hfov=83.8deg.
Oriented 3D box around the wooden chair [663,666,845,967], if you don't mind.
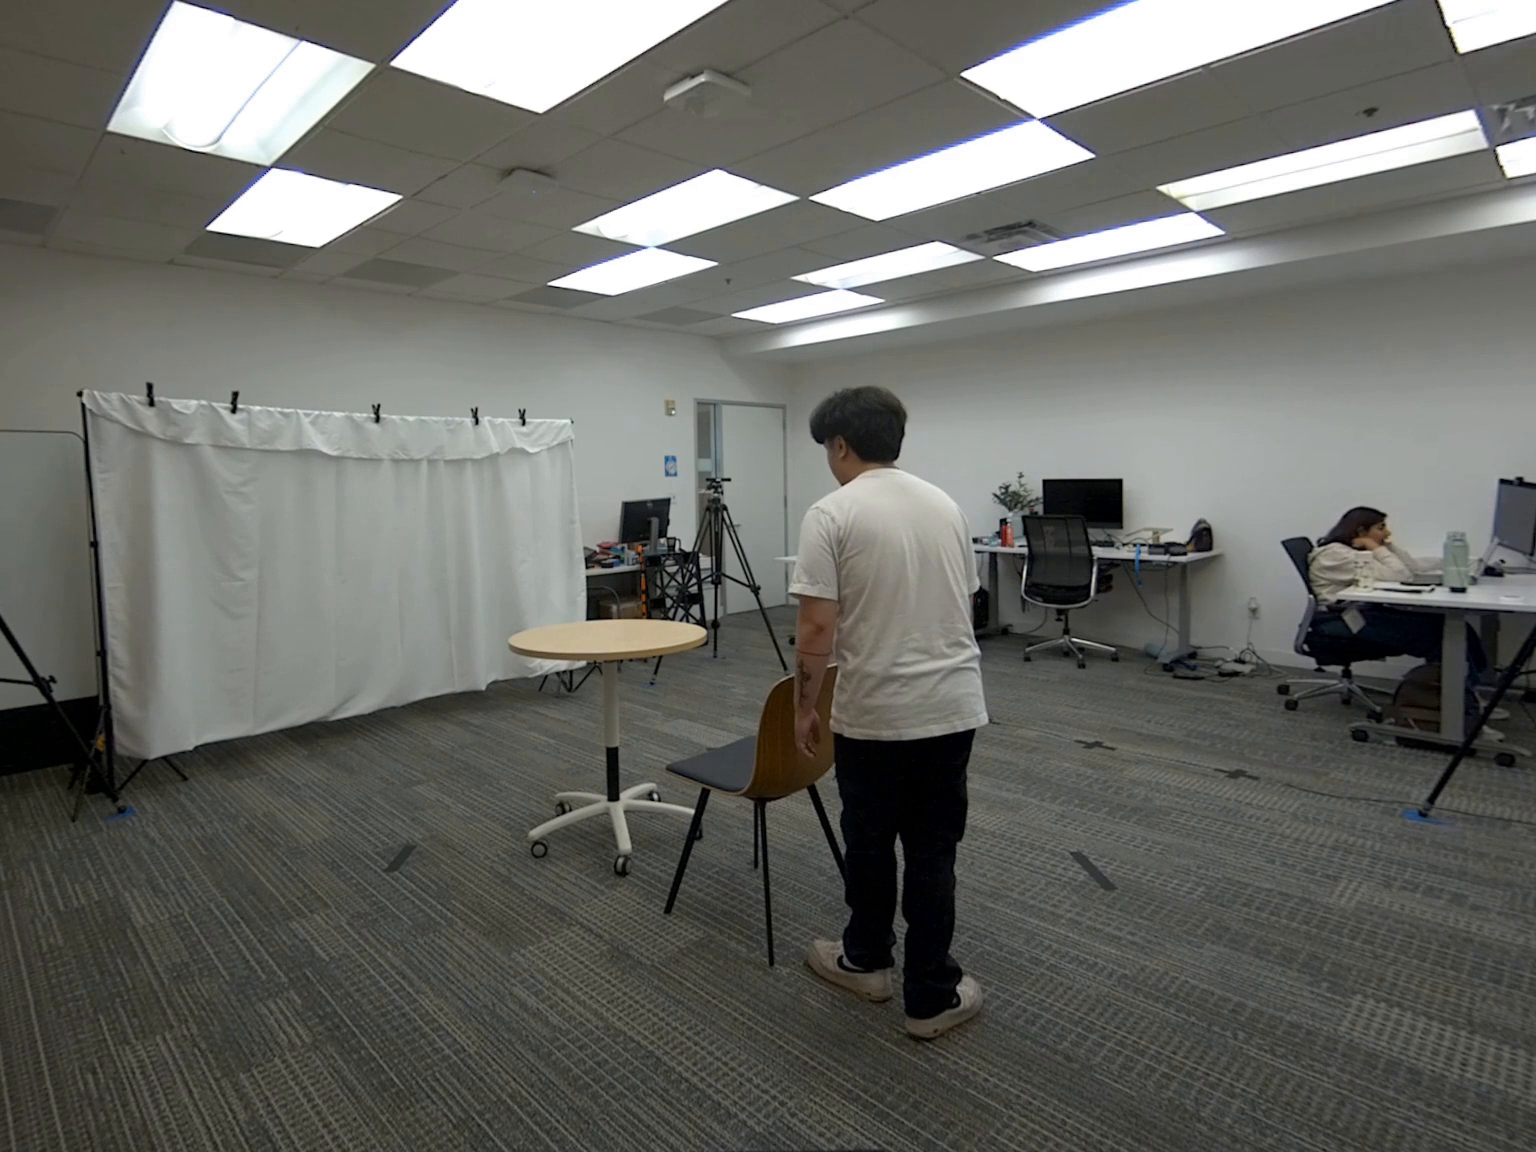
[{"bbox_3d":[-0.027,0.656,2.733,0.540,0.871,0.466,9,10,41],"label":"wooden chair"}]
